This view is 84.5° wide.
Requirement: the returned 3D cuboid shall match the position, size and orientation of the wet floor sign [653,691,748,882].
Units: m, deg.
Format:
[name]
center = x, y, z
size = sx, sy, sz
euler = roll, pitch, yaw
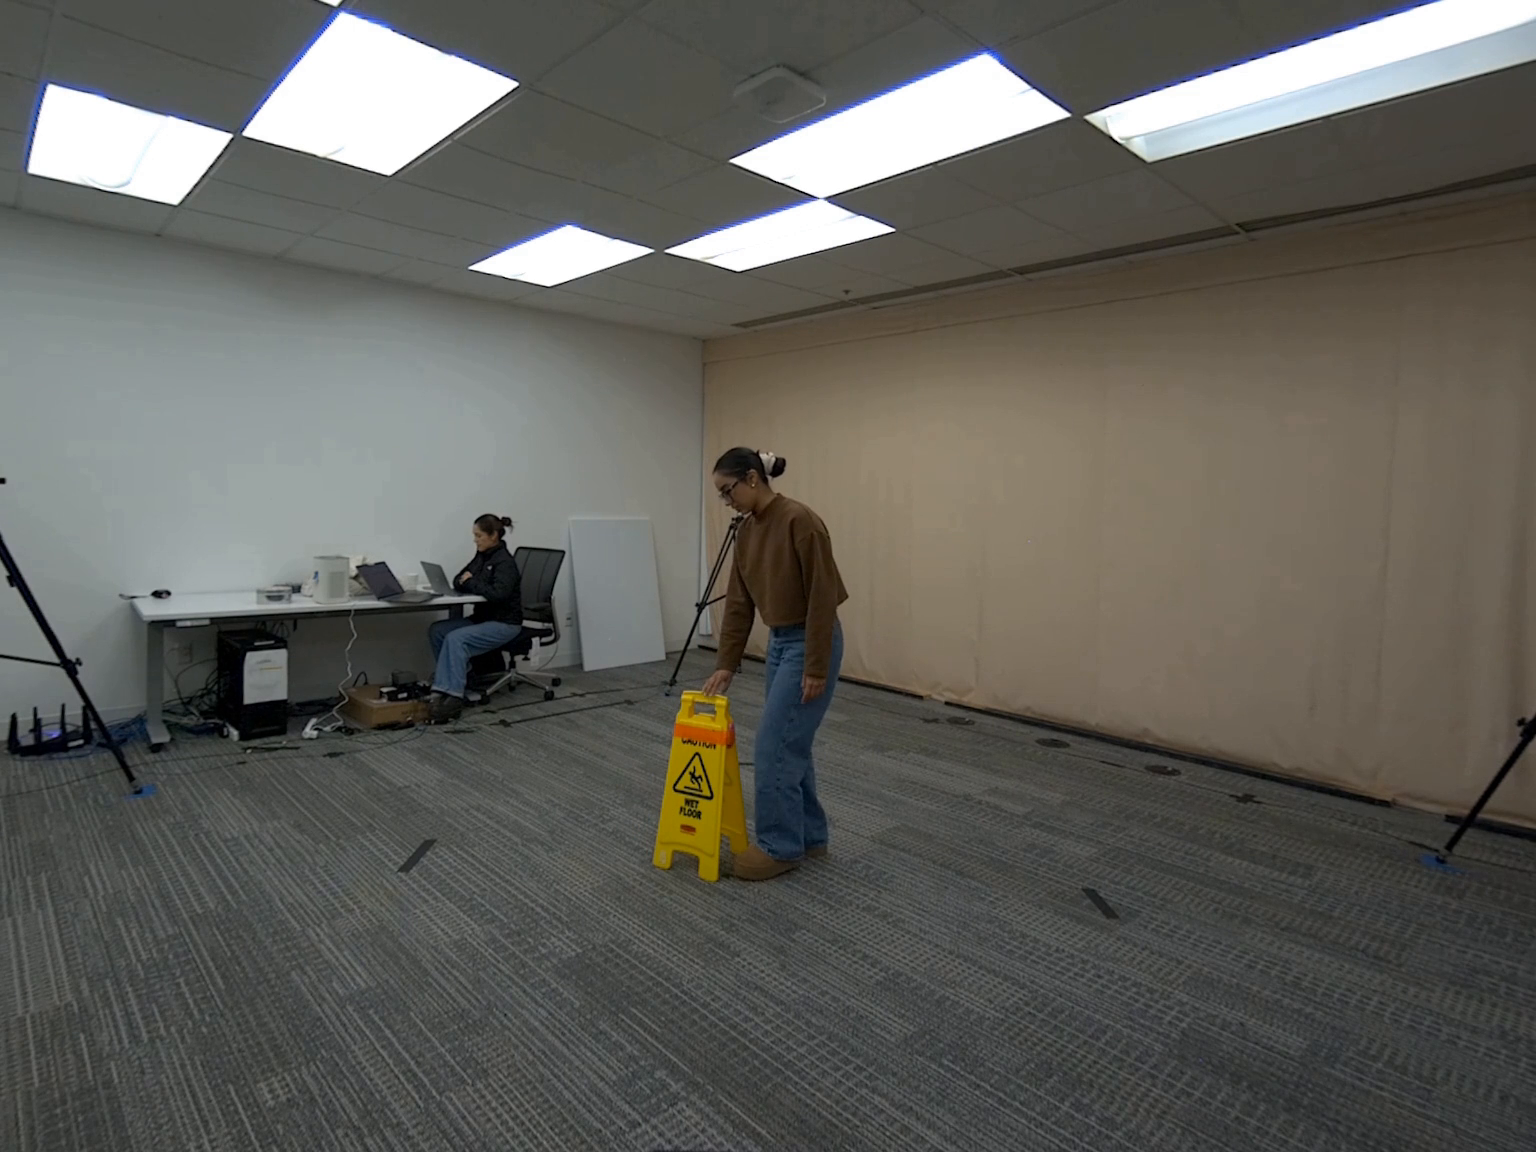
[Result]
[wet floor sign]
center = -0.249, 0.766, 3.217
size = 0.288, 0.644, 0.285
euler = 4, 4, 26
